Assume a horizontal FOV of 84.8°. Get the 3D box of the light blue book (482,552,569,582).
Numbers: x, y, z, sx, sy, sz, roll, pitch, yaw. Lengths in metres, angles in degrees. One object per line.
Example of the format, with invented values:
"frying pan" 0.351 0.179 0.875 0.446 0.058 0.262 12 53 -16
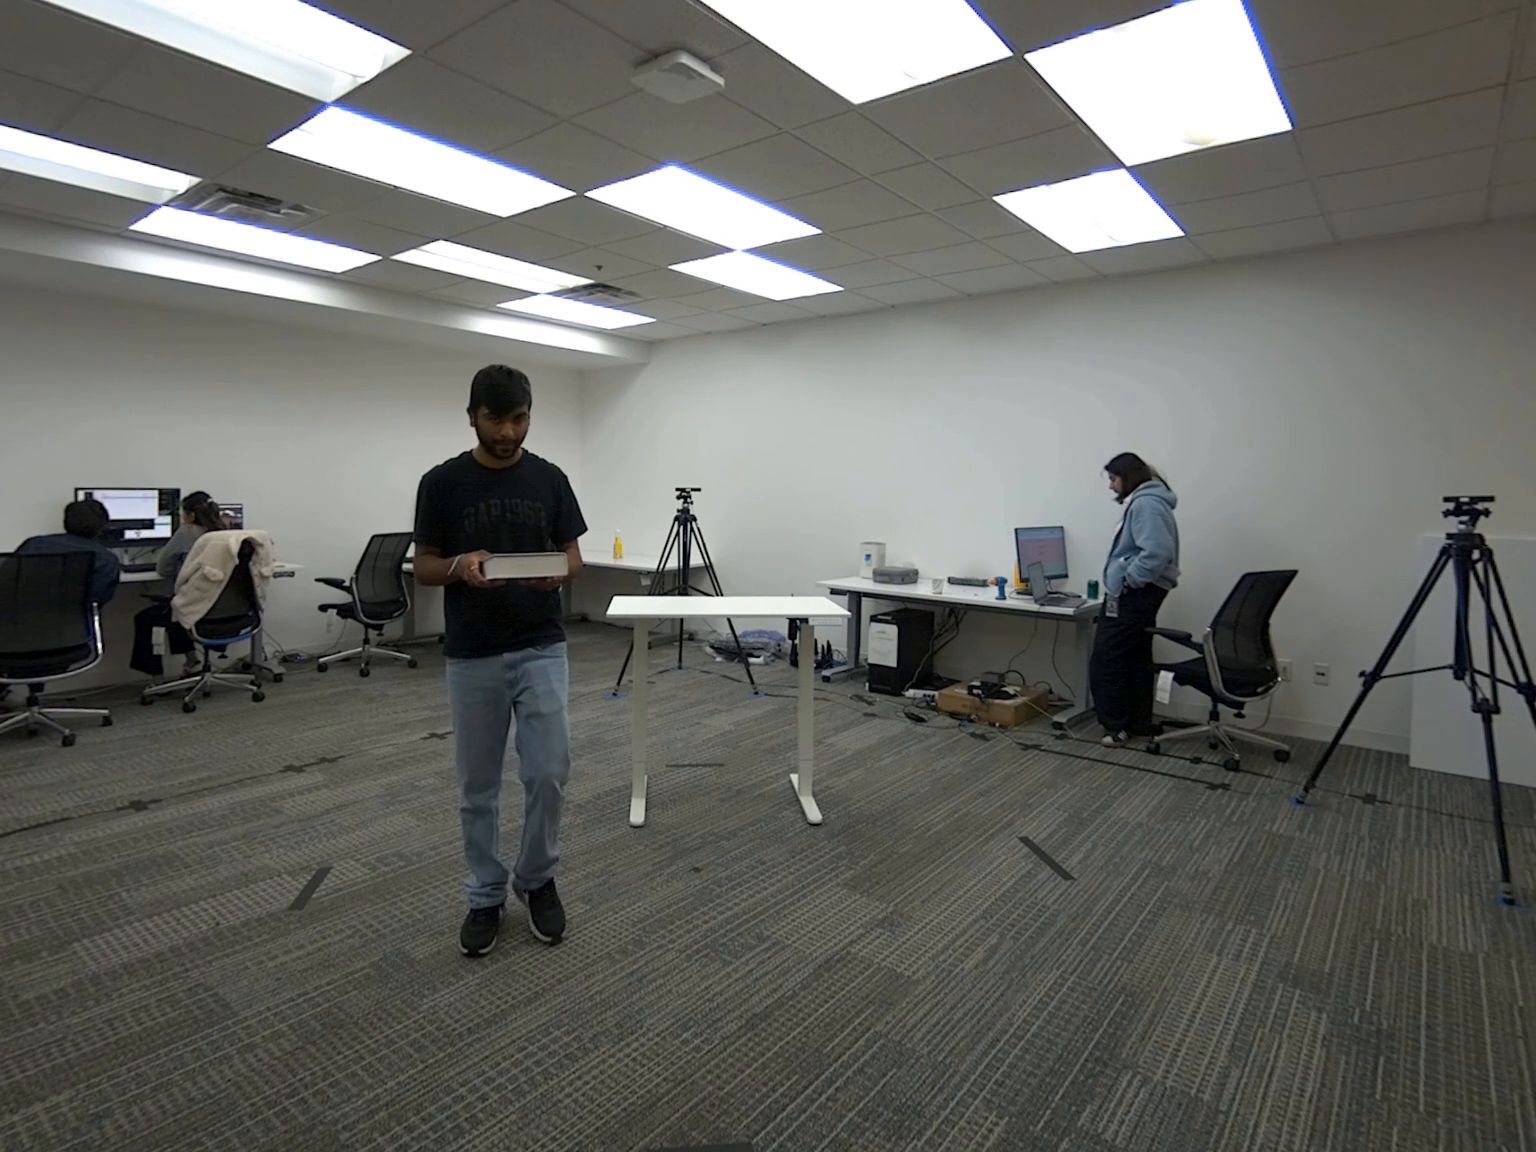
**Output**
"light blue book" -0.668 -0.020 2.303 0.189 0.059 0.263 -2 -2 -14
